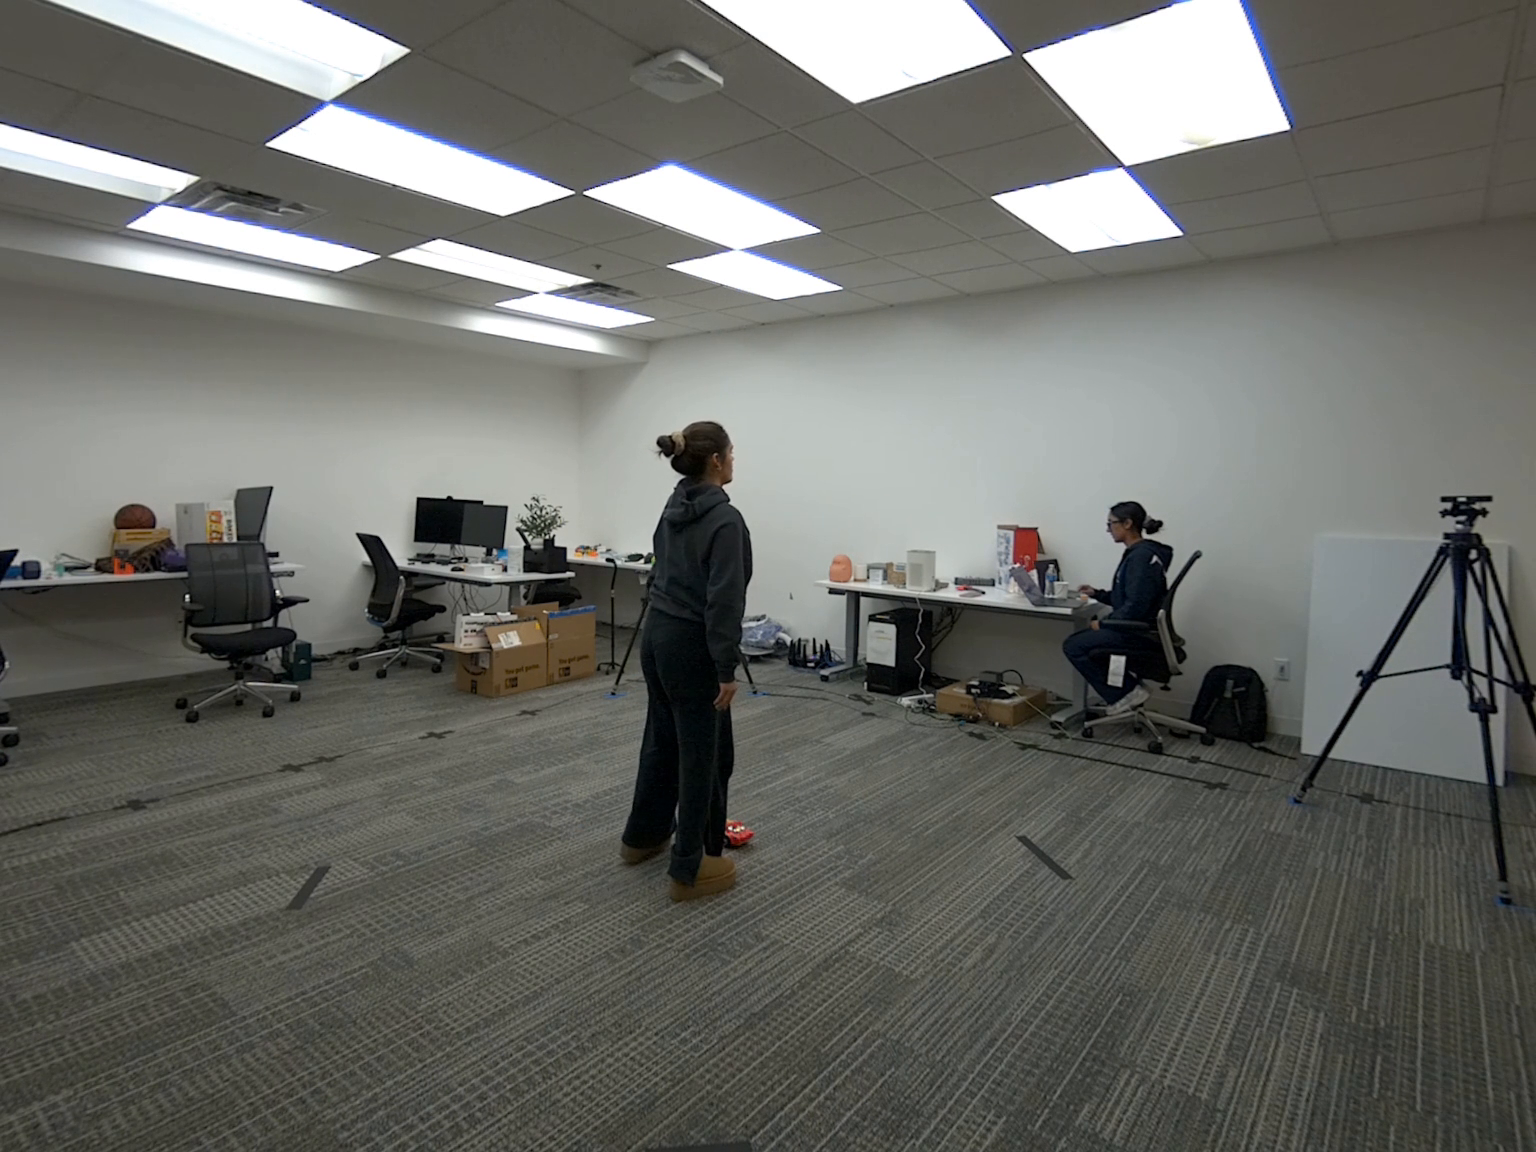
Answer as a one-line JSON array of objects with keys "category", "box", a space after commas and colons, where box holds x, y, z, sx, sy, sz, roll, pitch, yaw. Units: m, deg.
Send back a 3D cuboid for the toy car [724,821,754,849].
[{"category": "toy car", "box": [-0.167, 1.010, 3.365, 0.261, 0.083, 0.126, -9, -3, 42]}]
